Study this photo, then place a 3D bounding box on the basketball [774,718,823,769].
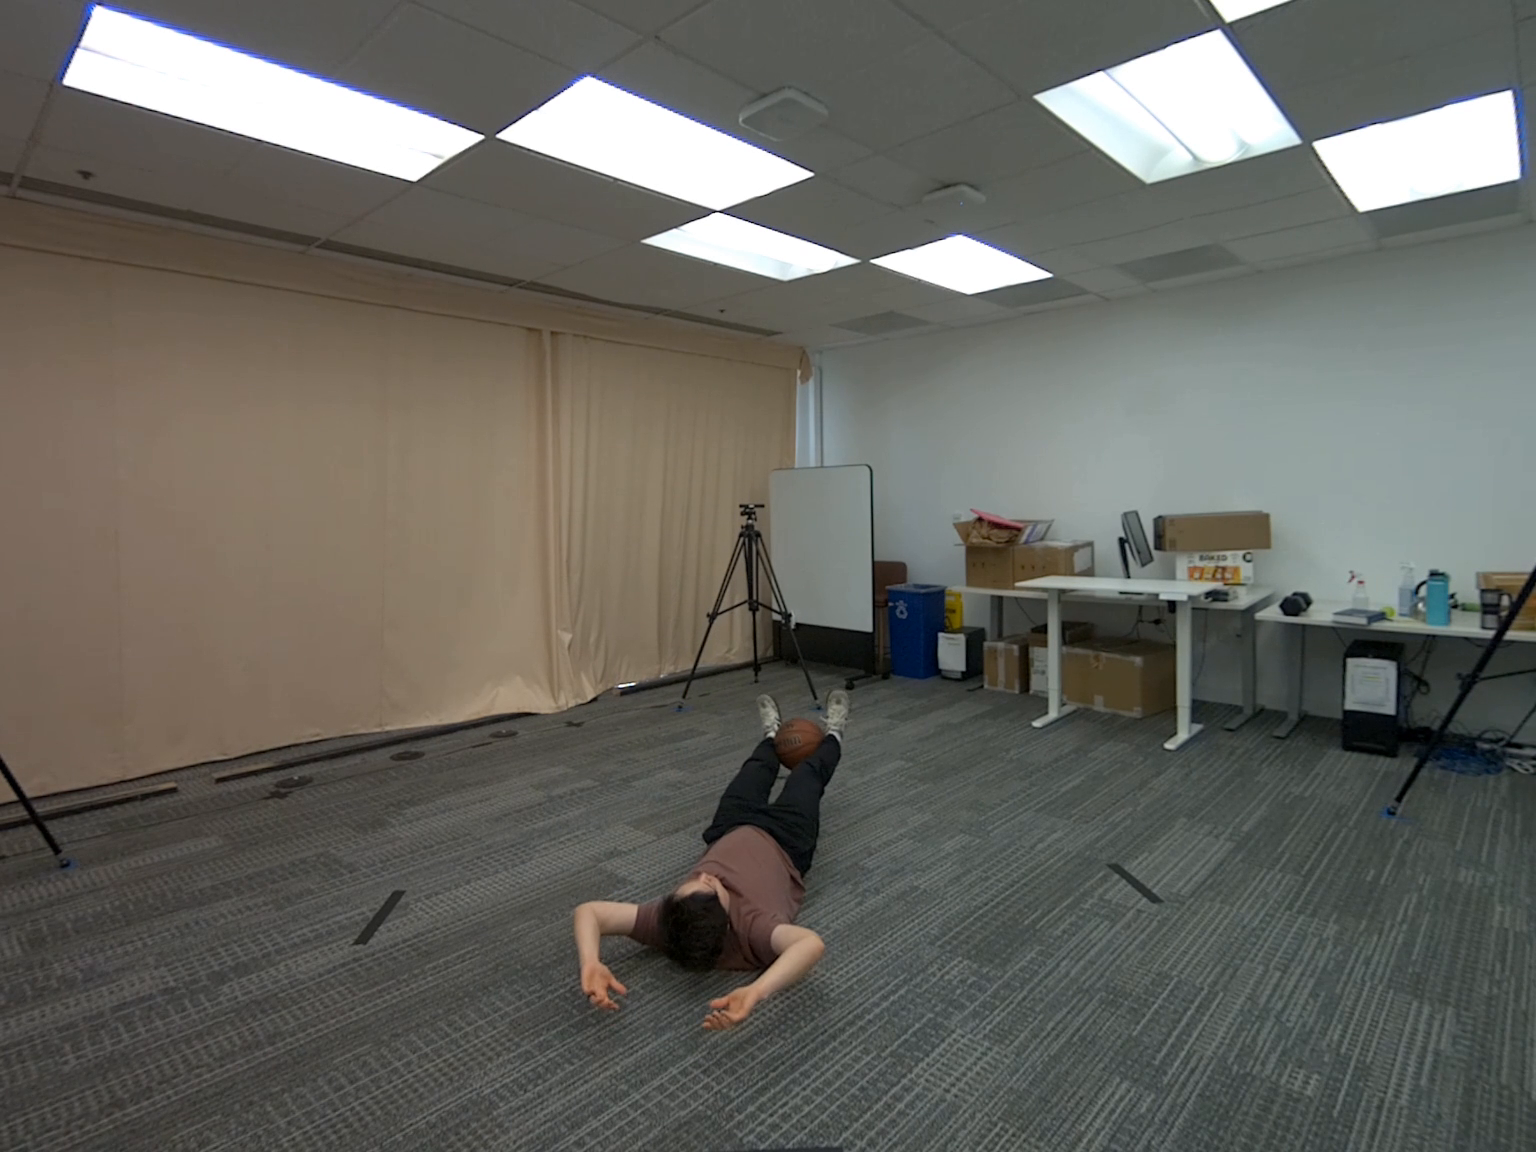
[{"bbox_3d":[0.146,0.754,3.757,0.235,0.235,0.237,3,5,-2],"label":"basketball"}]
